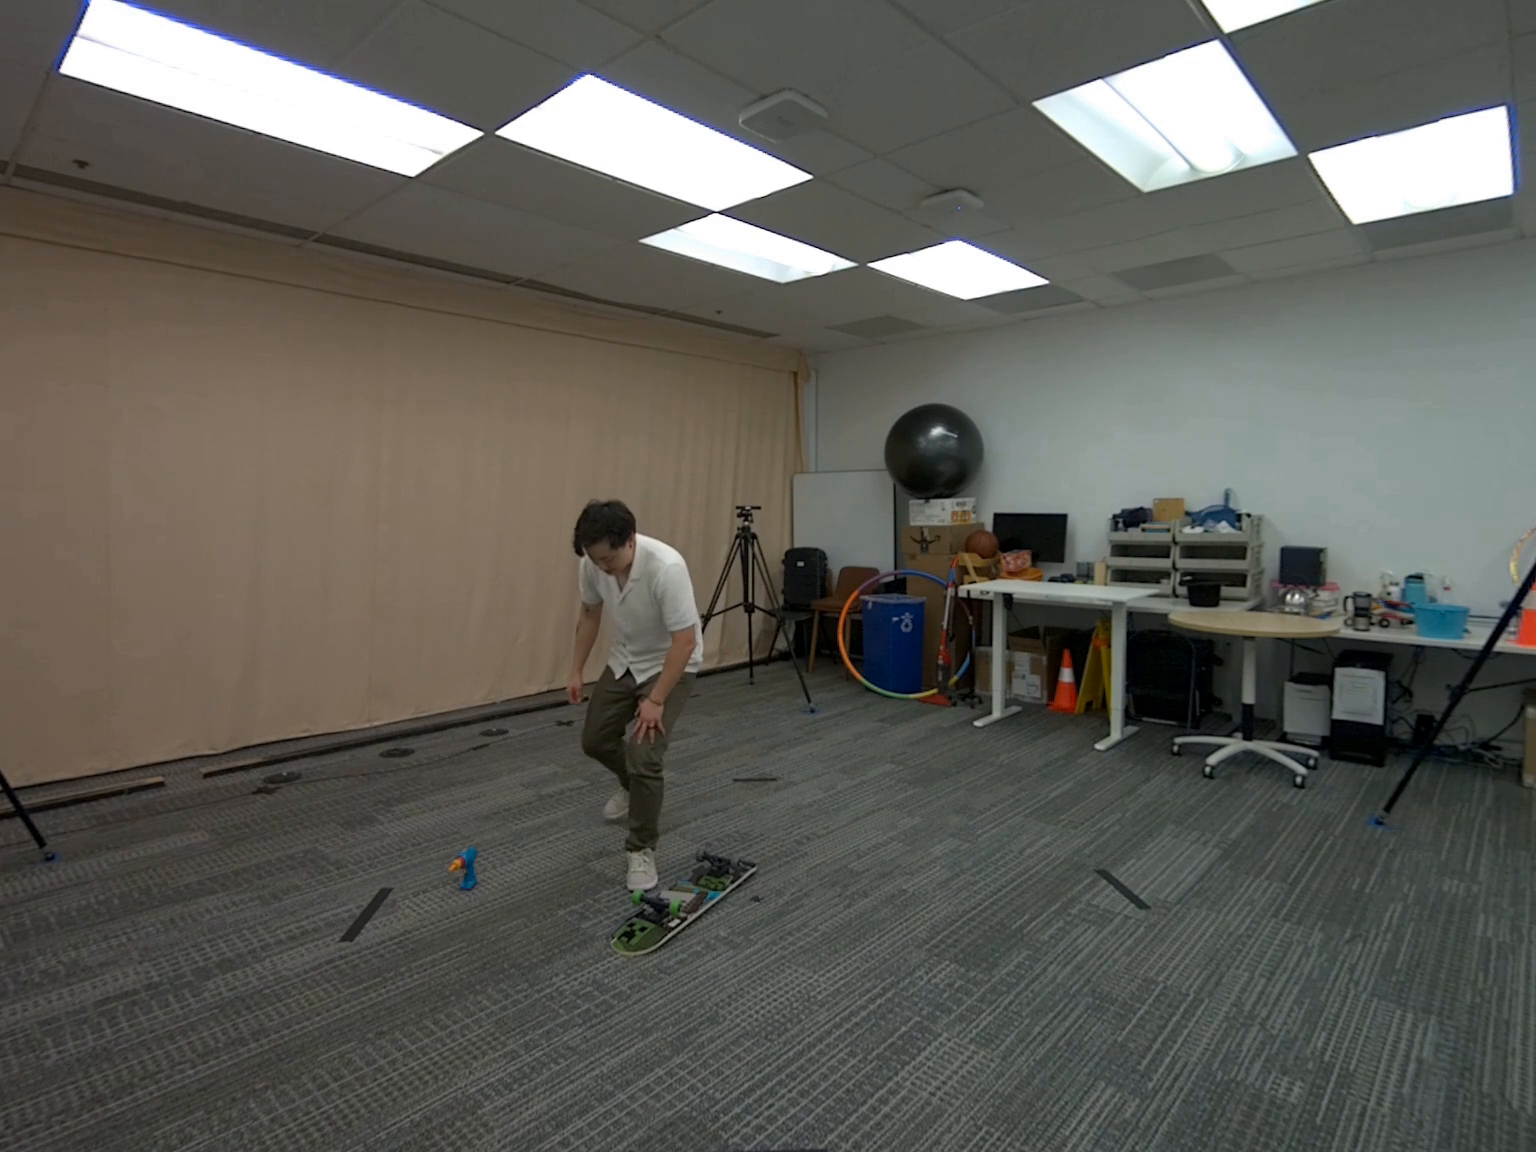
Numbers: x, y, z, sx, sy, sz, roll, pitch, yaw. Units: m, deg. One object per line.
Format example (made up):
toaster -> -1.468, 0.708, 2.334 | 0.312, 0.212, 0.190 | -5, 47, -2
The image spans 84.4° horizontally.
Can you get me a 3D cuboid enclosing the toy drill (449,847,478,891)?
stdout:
toy drill -> -1.109, 1.073, 3.055 | 0.062, 0.146, 0.168 | 0, 4, 8
